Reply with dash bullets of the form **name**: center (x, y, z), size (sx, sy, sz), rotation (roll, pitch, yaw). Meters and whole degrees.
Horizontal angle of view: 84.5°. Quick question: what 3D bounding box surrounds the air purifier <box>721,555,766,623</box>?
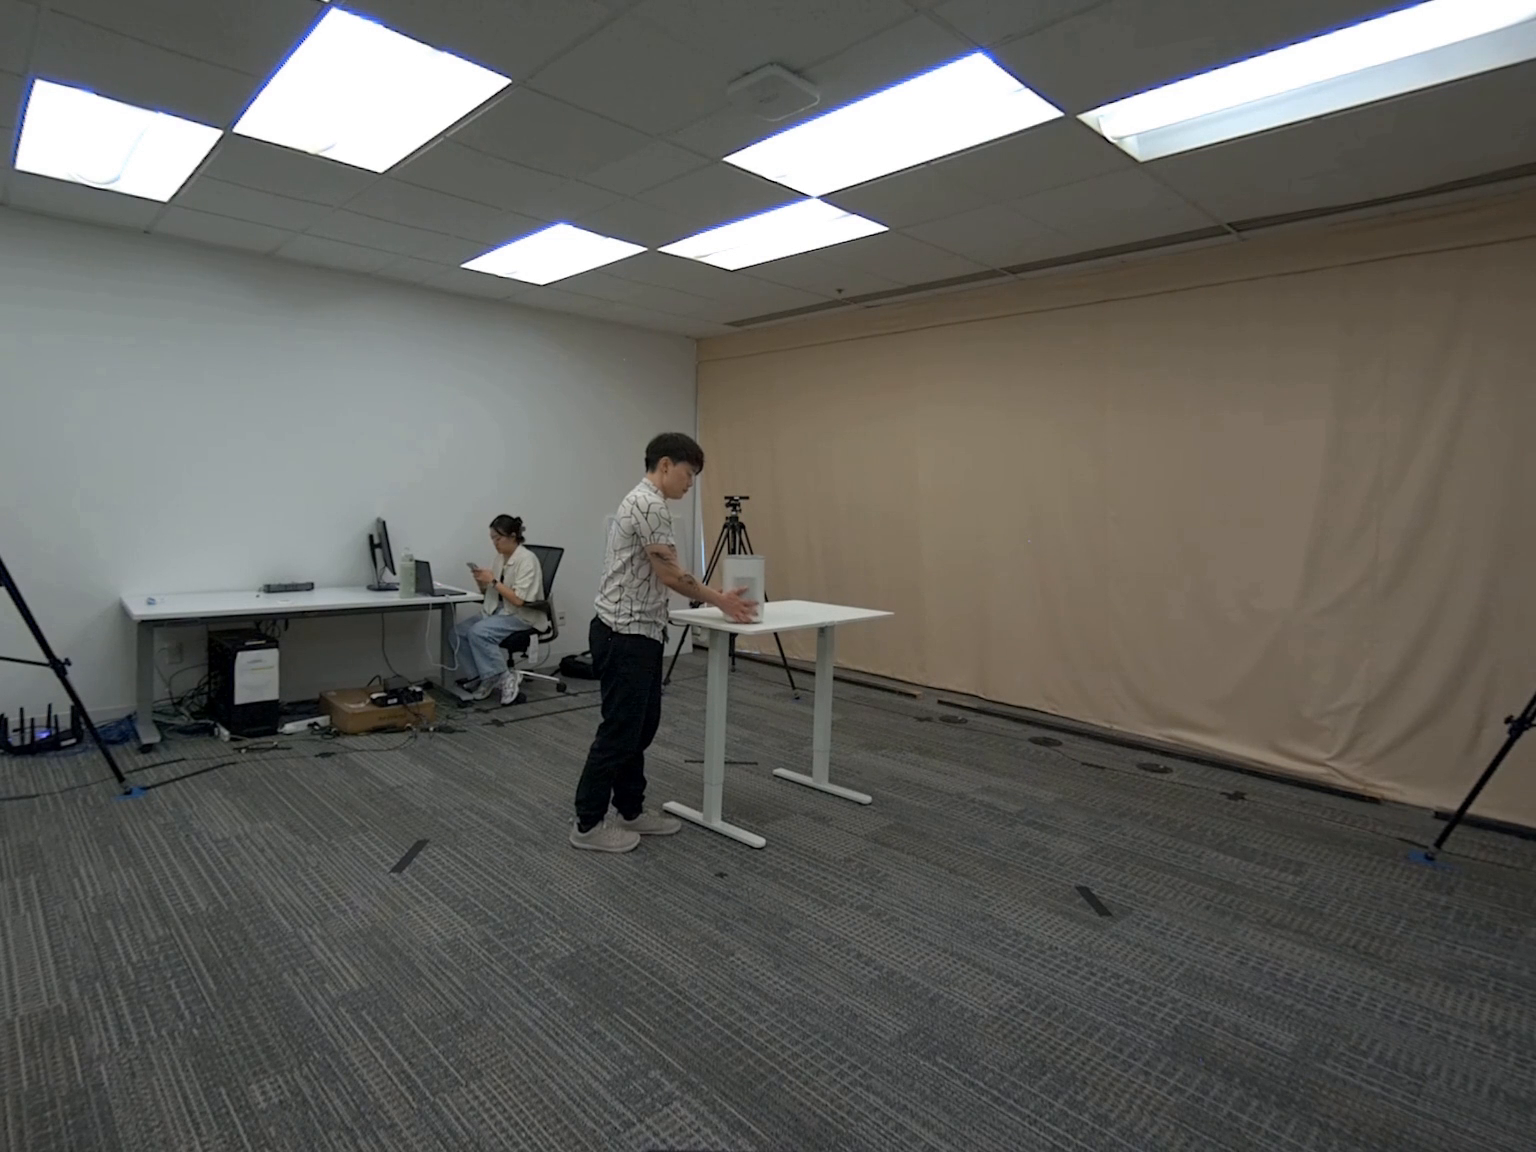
- **air purifier**: center (-0.112, 0.046, 3.467), size (0.171, 0.264, 0.172), rotation (0, 4, -3)
